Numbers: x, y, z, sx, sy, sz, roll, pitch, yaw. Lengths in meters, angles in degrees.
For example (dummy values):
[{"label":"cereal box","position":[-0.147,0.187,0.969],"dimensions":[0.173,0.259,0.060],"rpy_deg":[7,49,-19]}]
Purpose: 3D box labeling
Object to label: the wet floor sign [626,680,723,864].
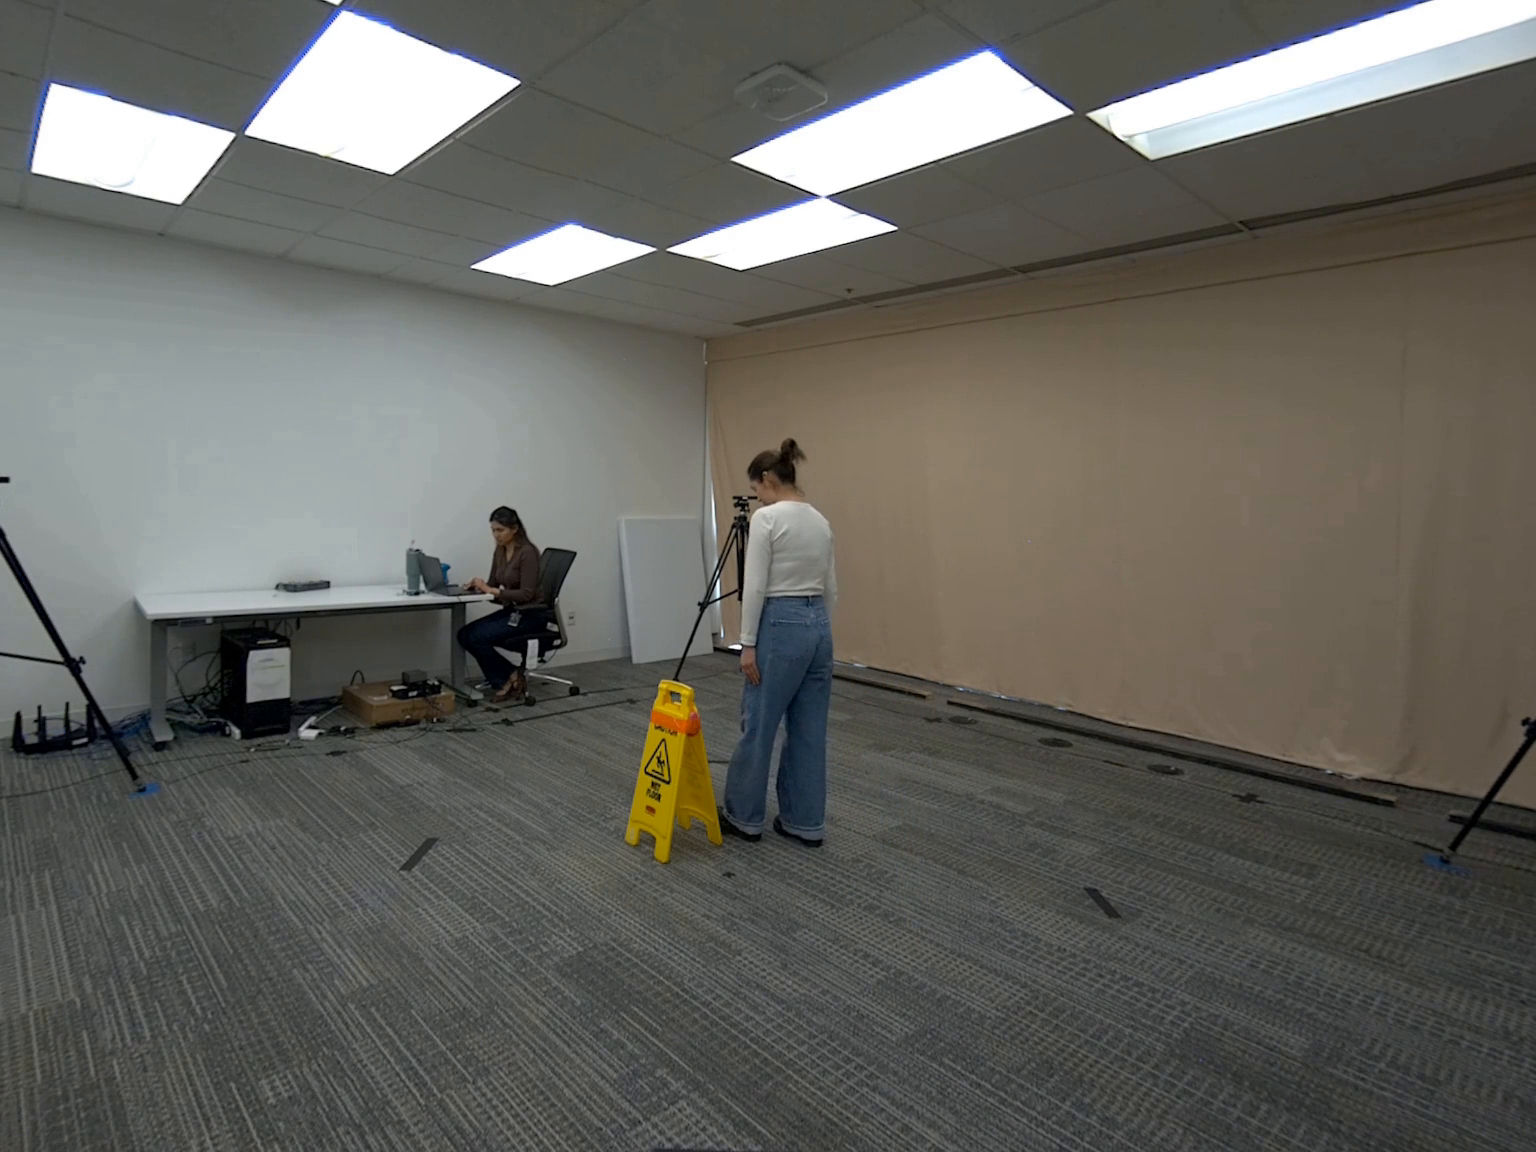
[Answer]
[{"label":"wet floor sign","position":[-0.376,0.750,3.366],"dimensions":[0.283,0.645,0.289],"rpy_deg":[-1,4,-43]}]
